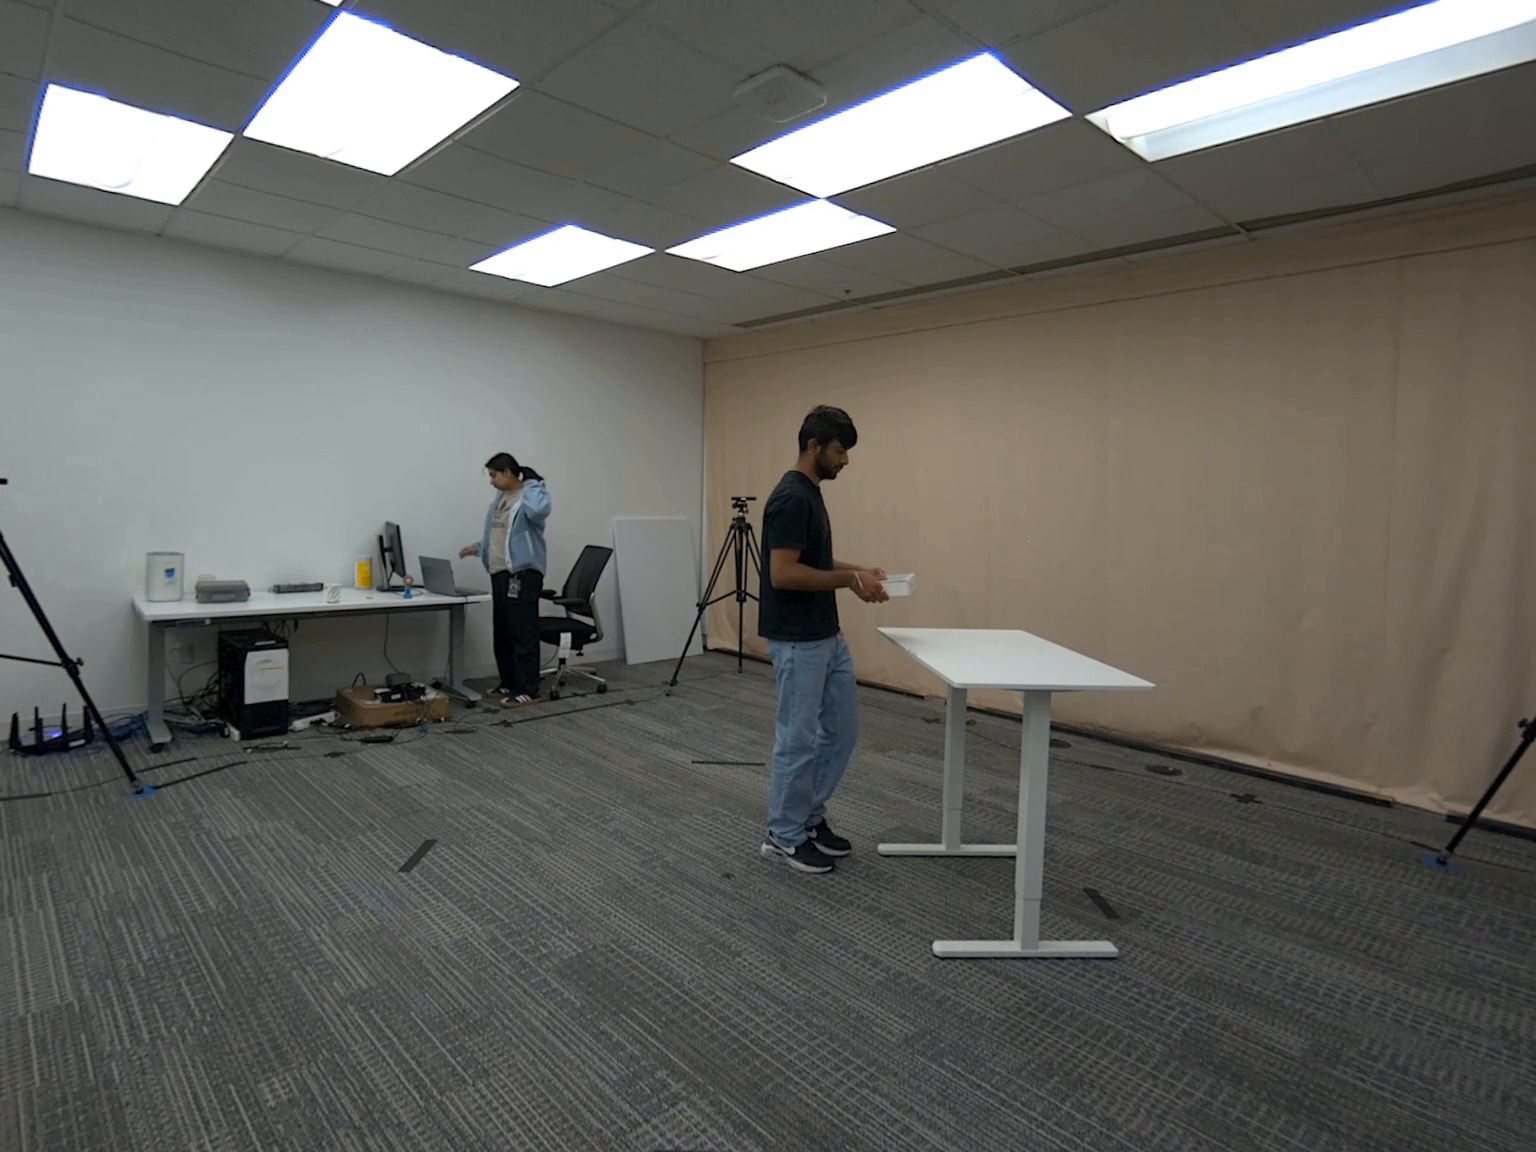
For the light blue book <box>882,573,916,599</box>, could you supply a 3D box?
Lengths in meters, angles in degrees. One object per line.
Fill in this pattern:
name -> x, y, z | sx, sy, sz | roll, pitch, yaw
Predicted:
light blue book -> 0.431, 0.035, 3.121 | 0.193, 0.059, 0.259 | -3, 5, 14
